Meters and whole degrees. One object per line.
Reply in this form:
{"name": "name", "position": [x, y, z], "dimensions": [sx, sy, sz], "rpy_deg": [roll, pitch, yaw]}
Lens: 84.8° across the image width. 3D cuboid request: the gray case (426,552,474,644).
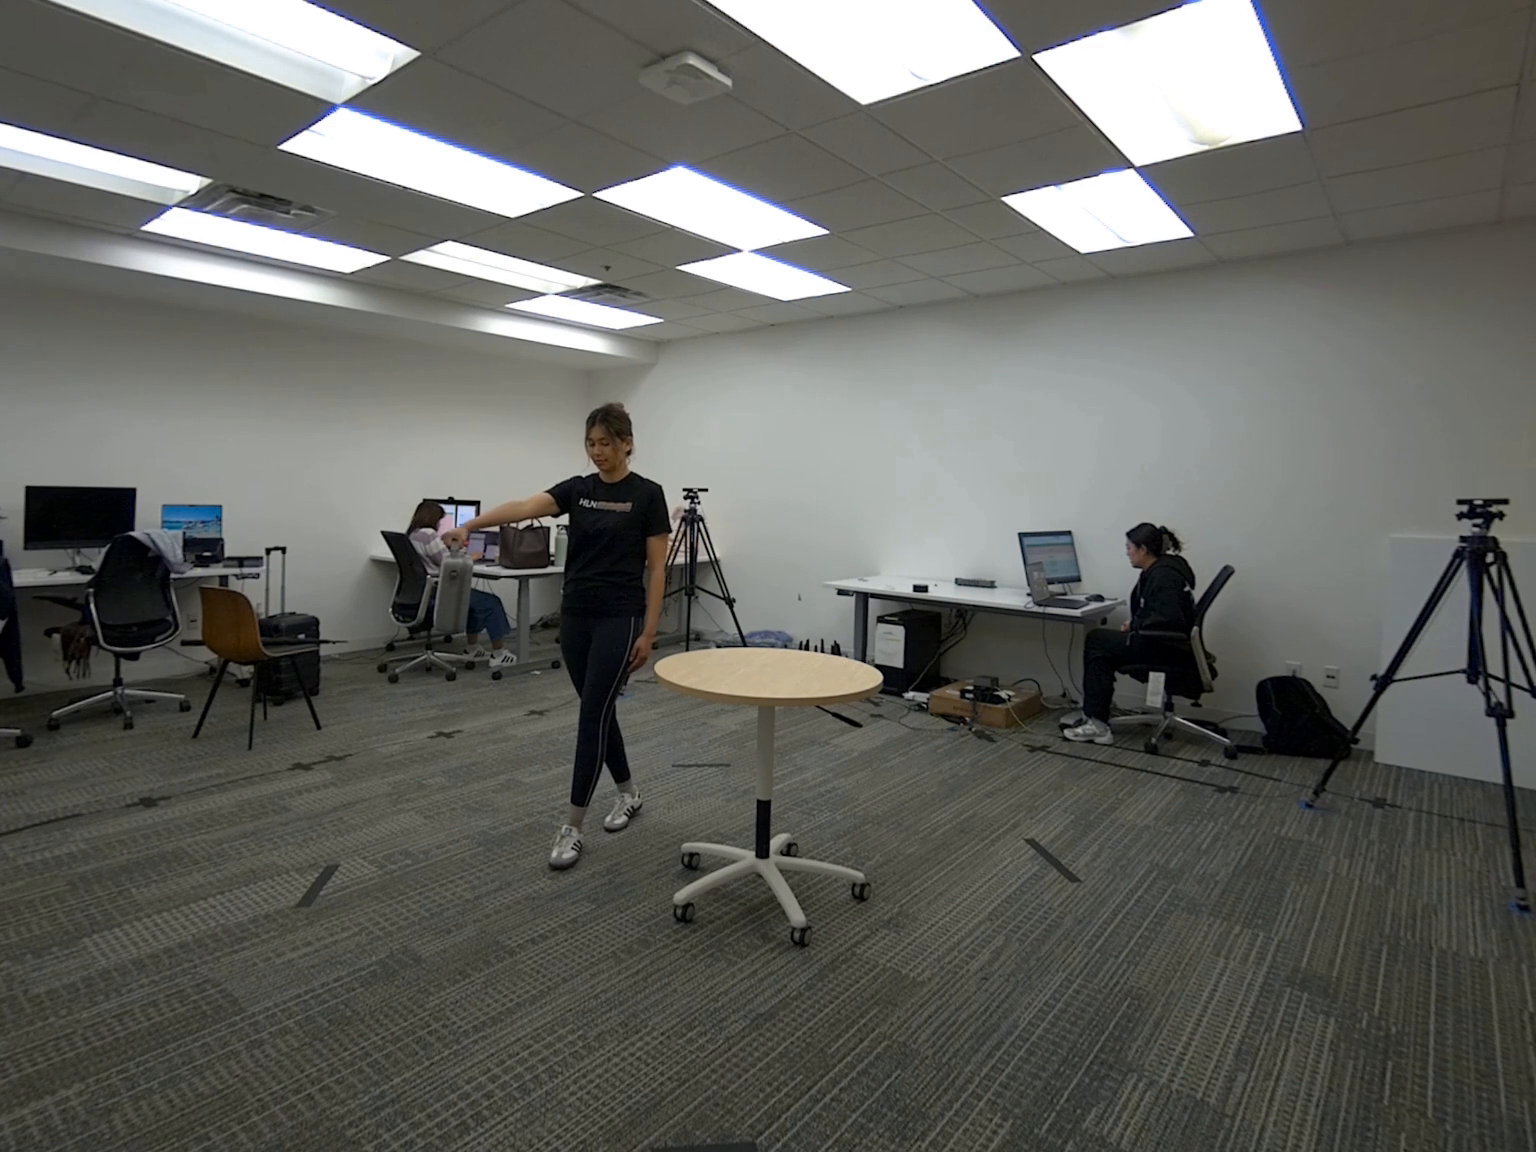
{"name": "gray case", "position": [-1.102, 0.056, 2.954], "dimensions": [0.102, 0.261, 0.261], "rpy_deg": [8, -1, -18]}
